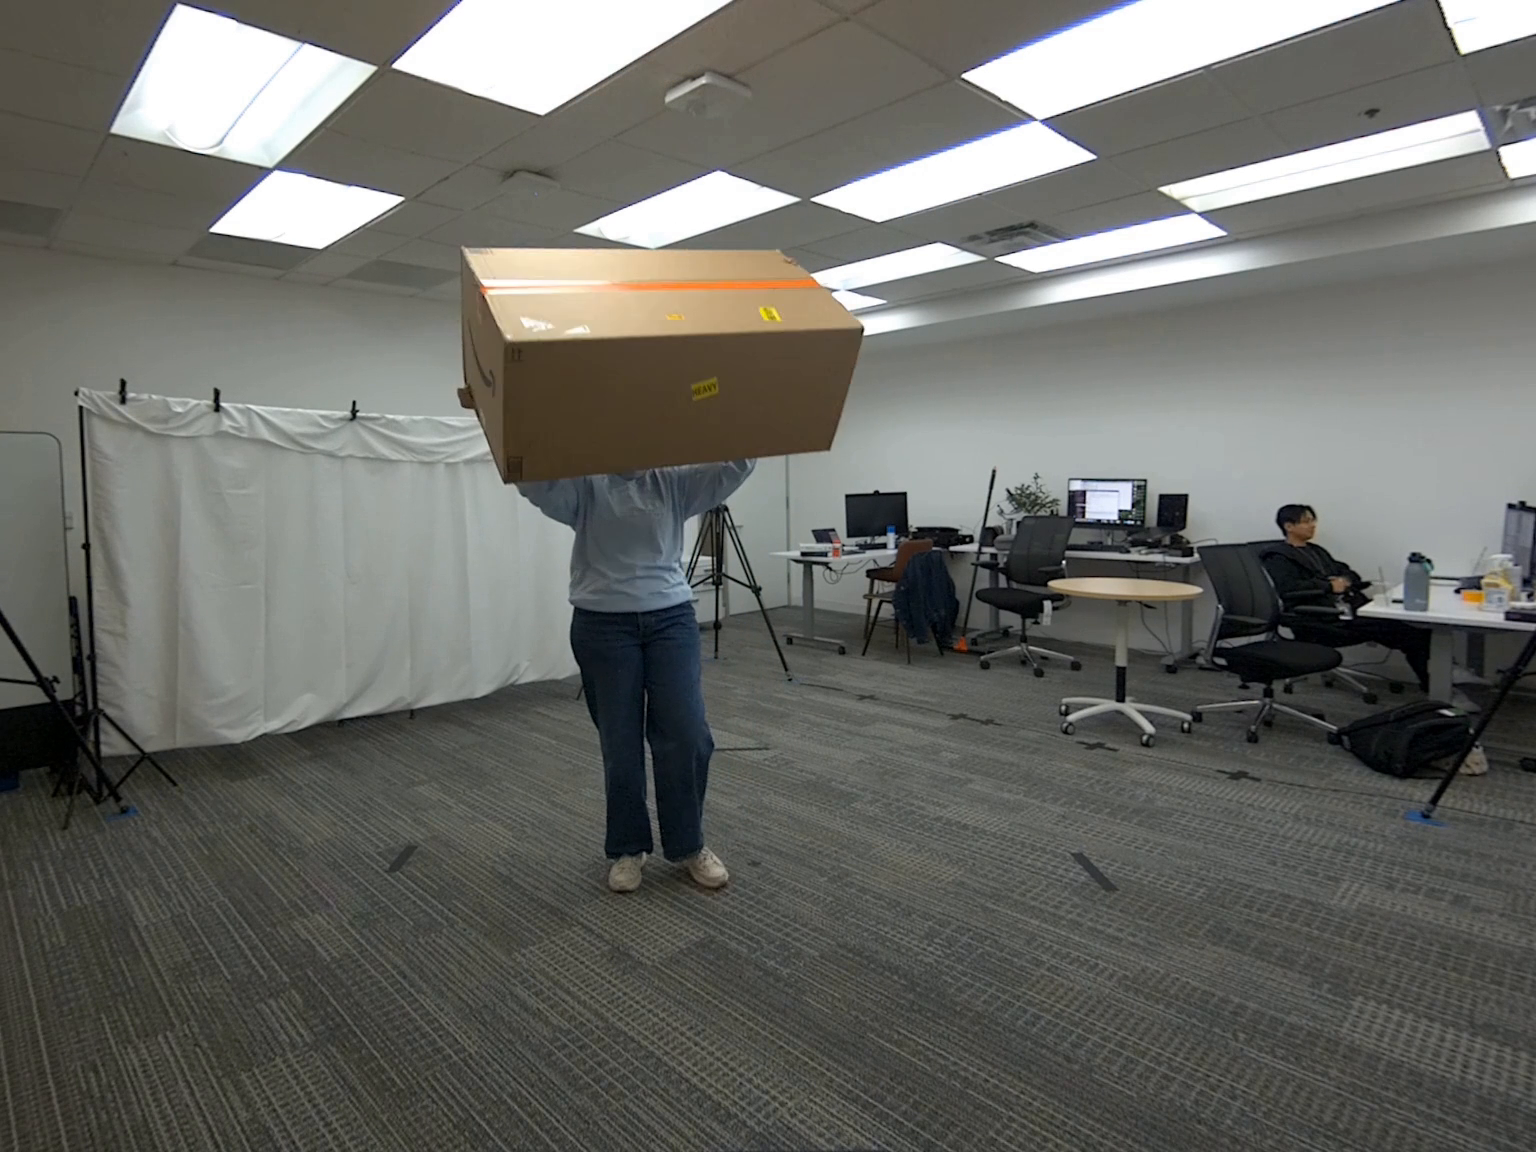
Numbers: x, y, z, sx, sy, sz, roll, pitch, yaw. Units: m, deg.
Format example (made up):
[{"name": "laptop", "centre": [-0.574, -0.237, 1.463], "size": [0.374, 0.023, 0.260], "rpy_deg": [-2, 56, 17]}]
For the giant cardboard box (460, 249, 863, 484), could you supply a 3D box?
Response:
[{"name": "giant cardboard box", "centre": [-0.327, -0.645, 2.540], "size": [1.007, 0.418, 0.600], "rpy_deg": [-9, 44, -24]}]
